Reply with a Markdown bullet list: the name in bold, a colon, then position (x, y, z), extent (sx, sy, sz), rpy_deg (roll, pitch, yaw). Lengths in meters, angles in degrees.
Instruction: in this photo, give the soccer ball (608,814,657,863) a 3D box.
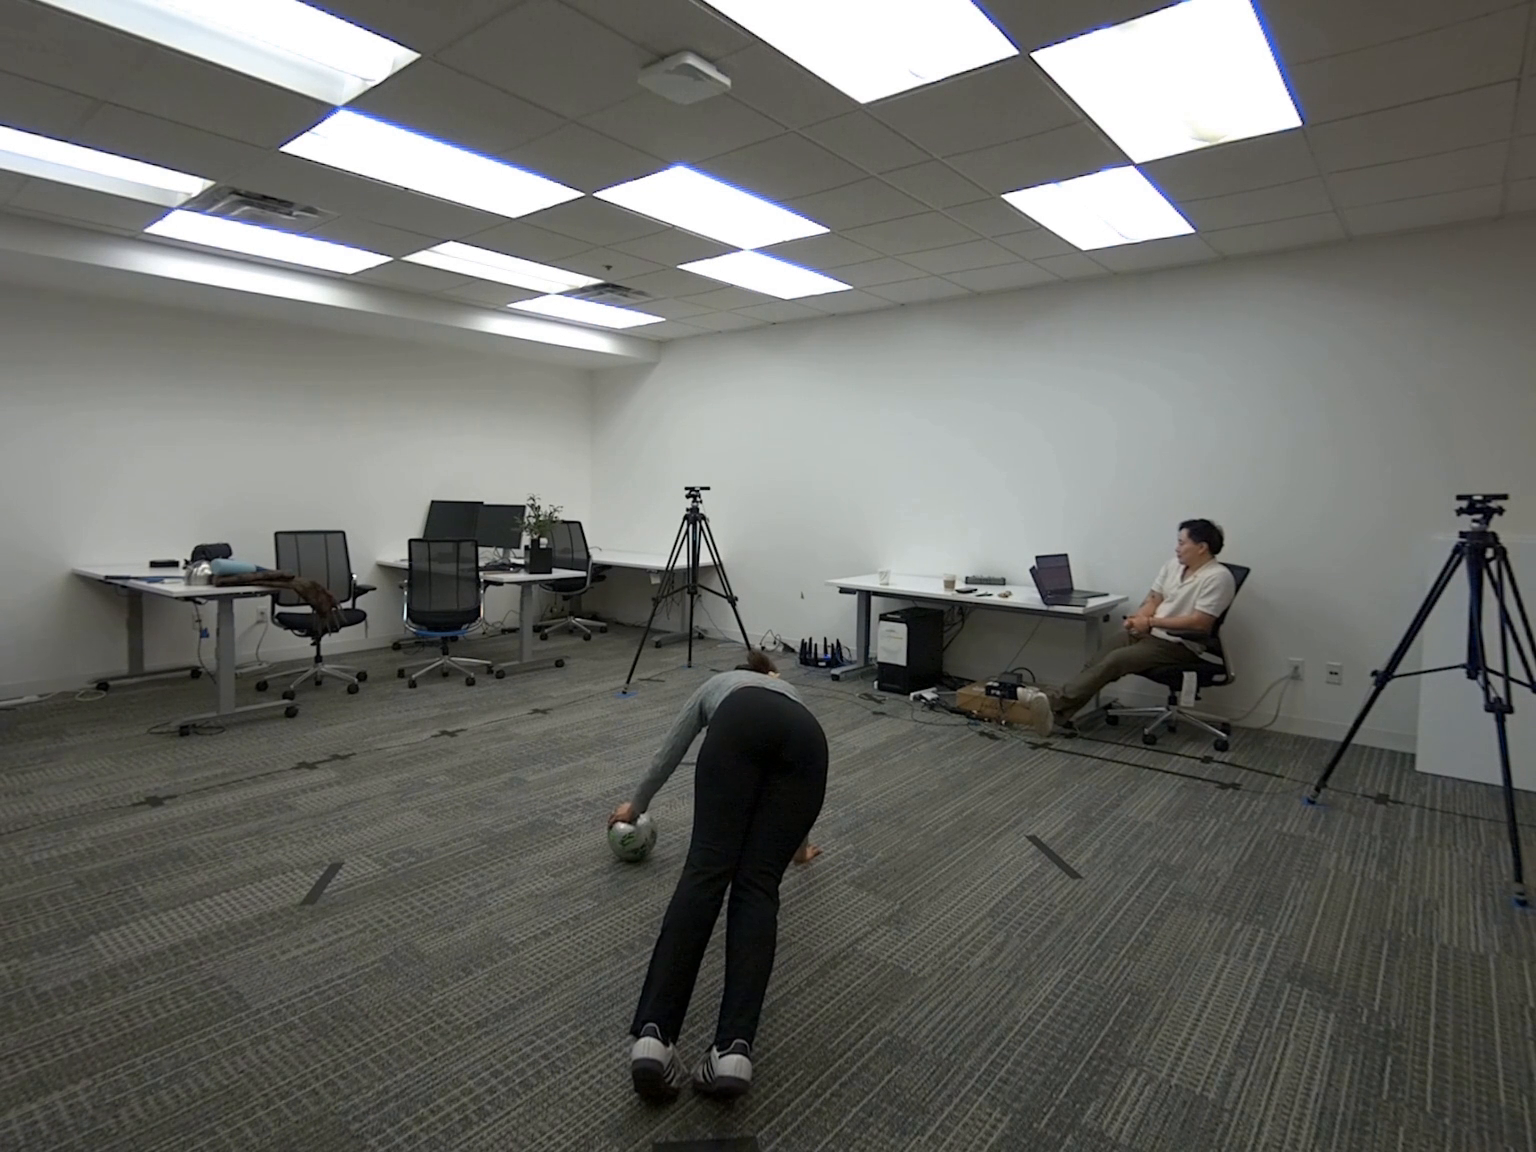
- **soccer ball**: position (-0.510, 0.962, 3.181), extent (0.187, 0.187, 0.188), rpy_deg (1, 4, -2)
